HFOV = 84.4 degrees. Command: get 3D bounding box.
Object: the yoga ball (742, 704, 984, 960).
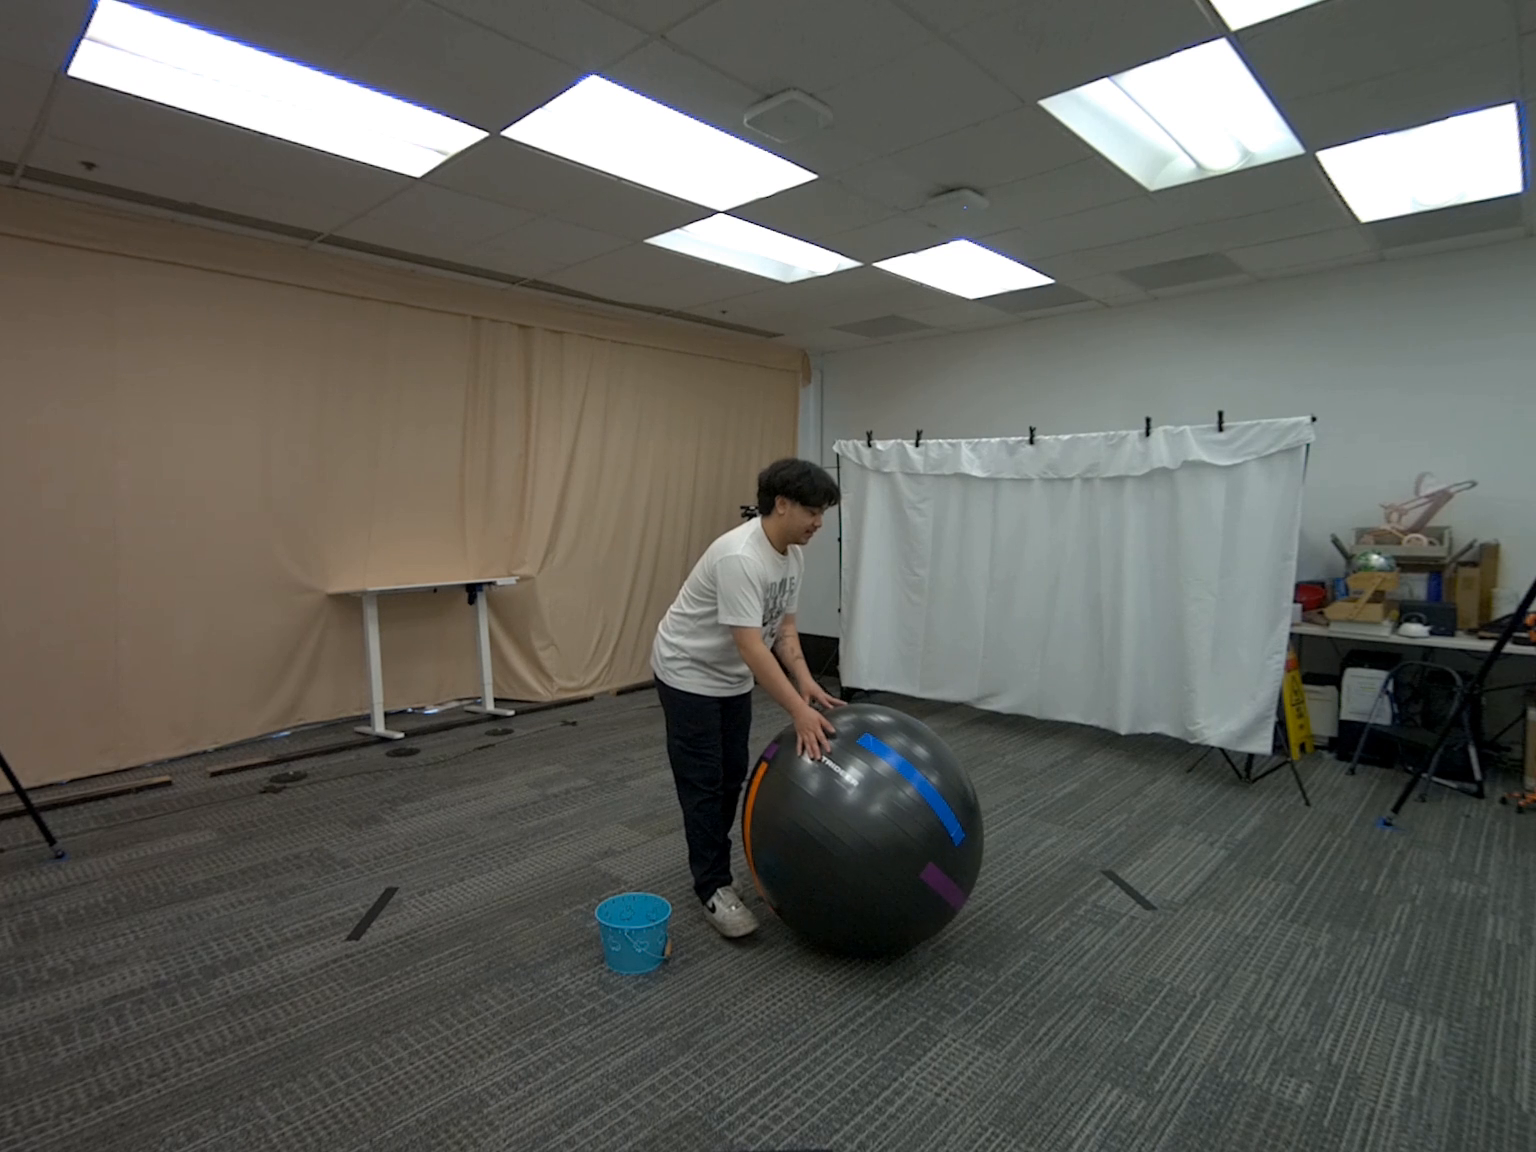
[{"bbox_3d":[0.305,0.804,2.692,0.757,0.756,0.760,0,4,-2],"label":"yoga ball"}]
